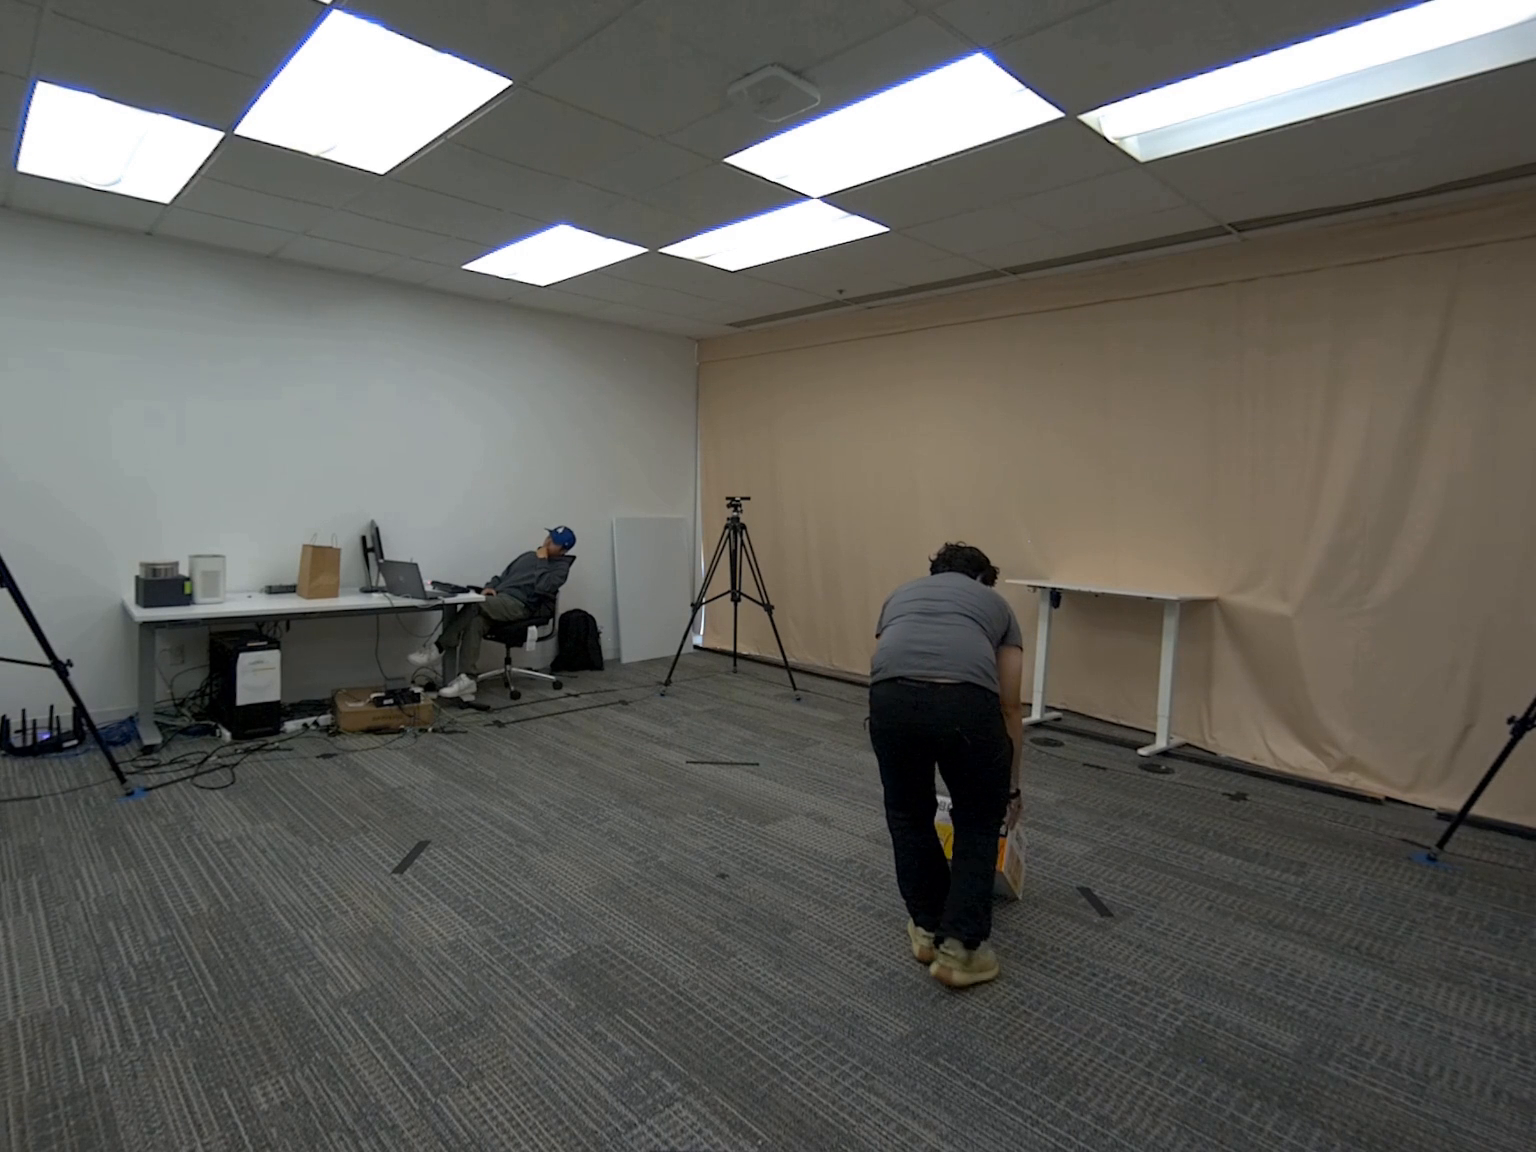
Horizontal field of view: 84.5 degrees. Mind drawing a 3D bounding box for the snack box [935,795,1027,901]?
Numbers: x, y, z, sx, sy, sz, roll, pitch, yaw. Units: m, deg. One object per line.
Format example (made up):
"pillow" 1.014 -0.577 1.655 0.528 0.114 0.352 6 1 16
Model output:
"snack box" 0.698 0.950 2.949 0.348 0.208 0.392 4 -30 29
